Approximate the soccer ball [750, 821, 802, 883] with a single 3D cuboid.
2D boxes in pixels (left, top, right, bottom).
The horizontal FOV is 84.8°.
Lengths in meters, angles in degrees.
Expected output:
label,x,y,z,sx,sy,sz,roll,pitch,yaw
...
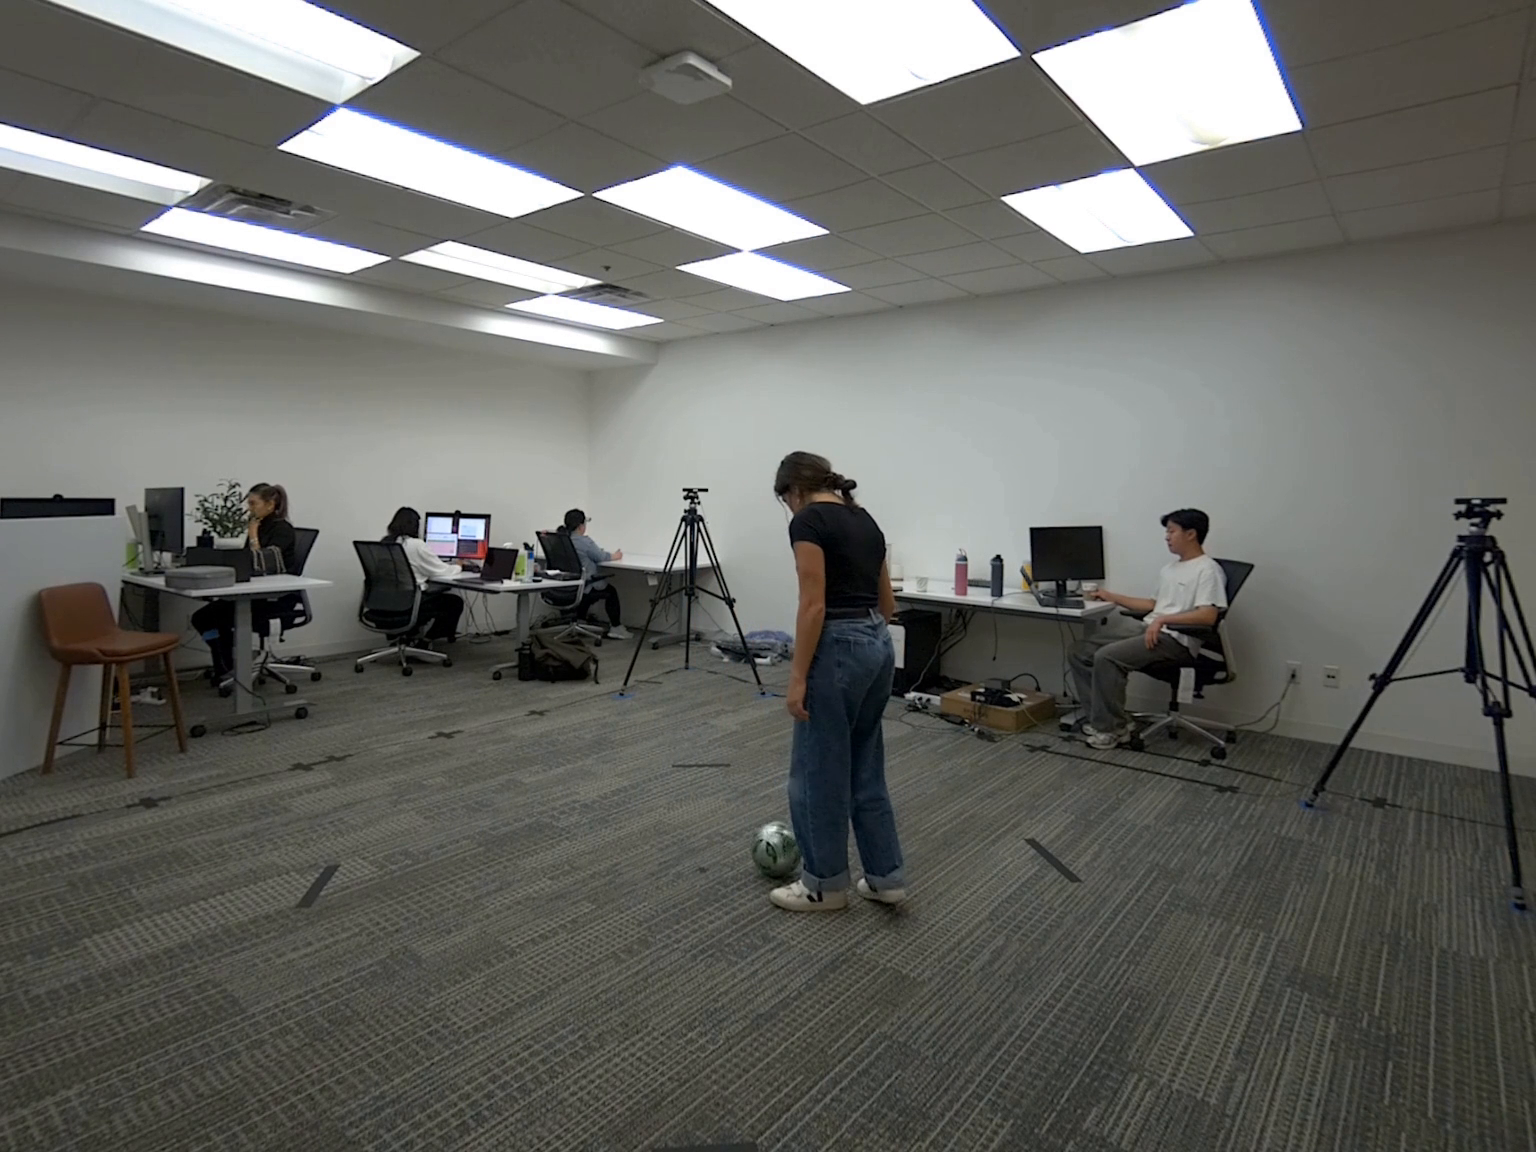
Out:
label,x,y,z,sx,sy,sz,roll,pitch,yaw
soccer ball,0.034,0.978,3.082,0.187,0.187,0.188,1,4,-2
